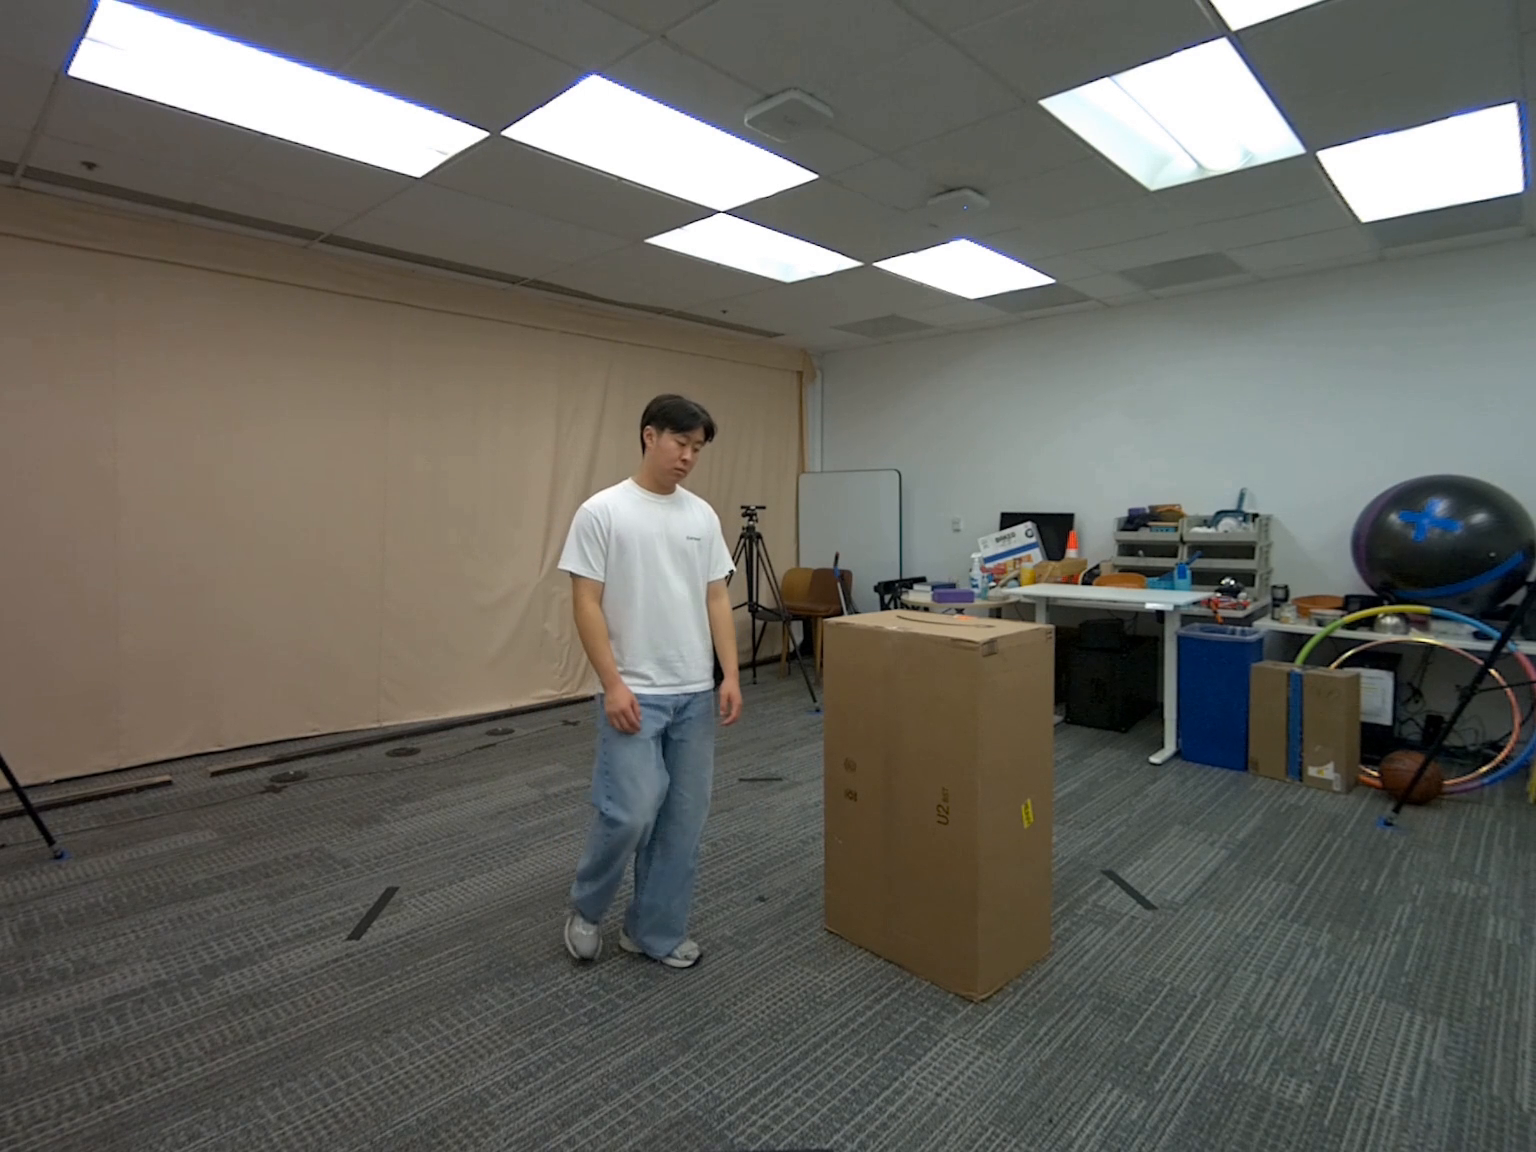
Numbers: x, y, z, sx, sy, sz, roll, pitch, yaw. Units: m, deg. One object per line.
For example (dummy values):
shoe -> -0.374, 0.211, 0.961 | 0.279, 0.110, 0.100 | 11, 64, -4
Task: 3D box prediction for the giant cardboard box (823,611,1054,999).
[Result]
giant cardboard box -> 0.535, 0.657, 2.679 | 0.413, 1.024, 0.597 | -3, 4, -44
